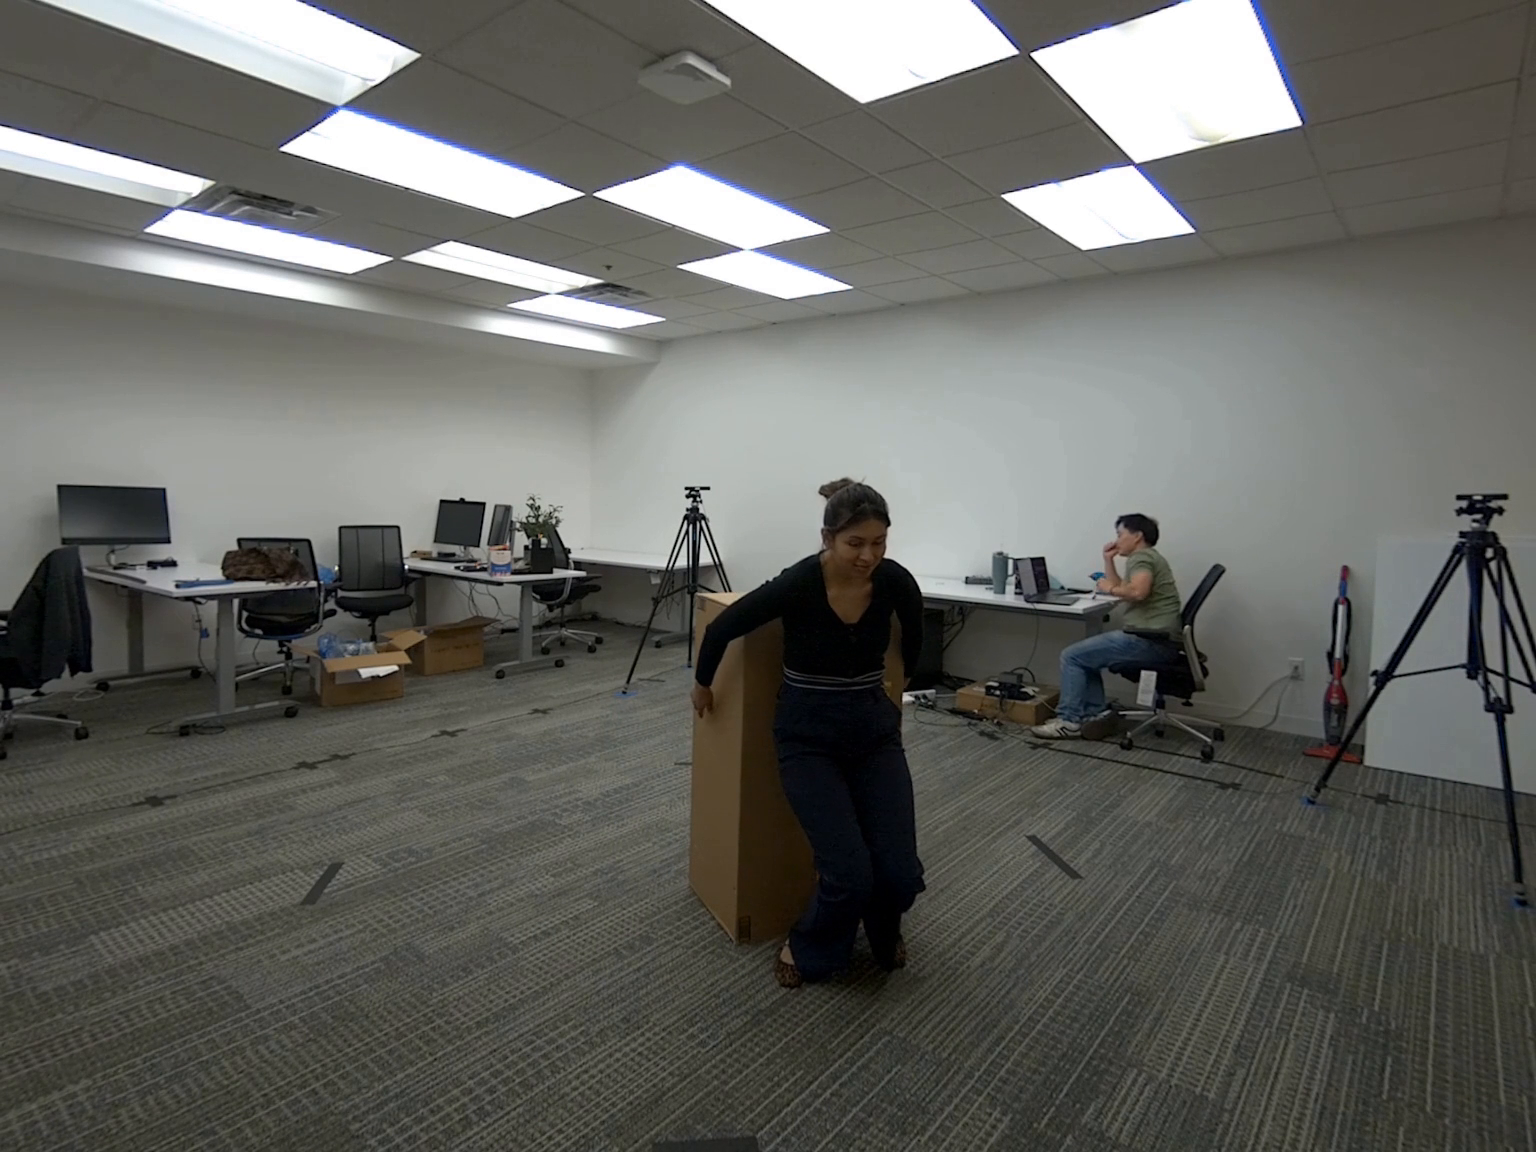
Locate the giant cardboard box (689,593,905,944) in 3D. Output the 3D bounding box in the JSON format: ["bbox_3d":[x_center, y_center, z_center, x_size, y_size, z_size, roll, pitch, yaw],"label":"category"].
[{"bbox_3d":[0.073,0.583,2.859,0.564,1.023,0.437,0,3,-25],"label":"giant cardboard box"}]
